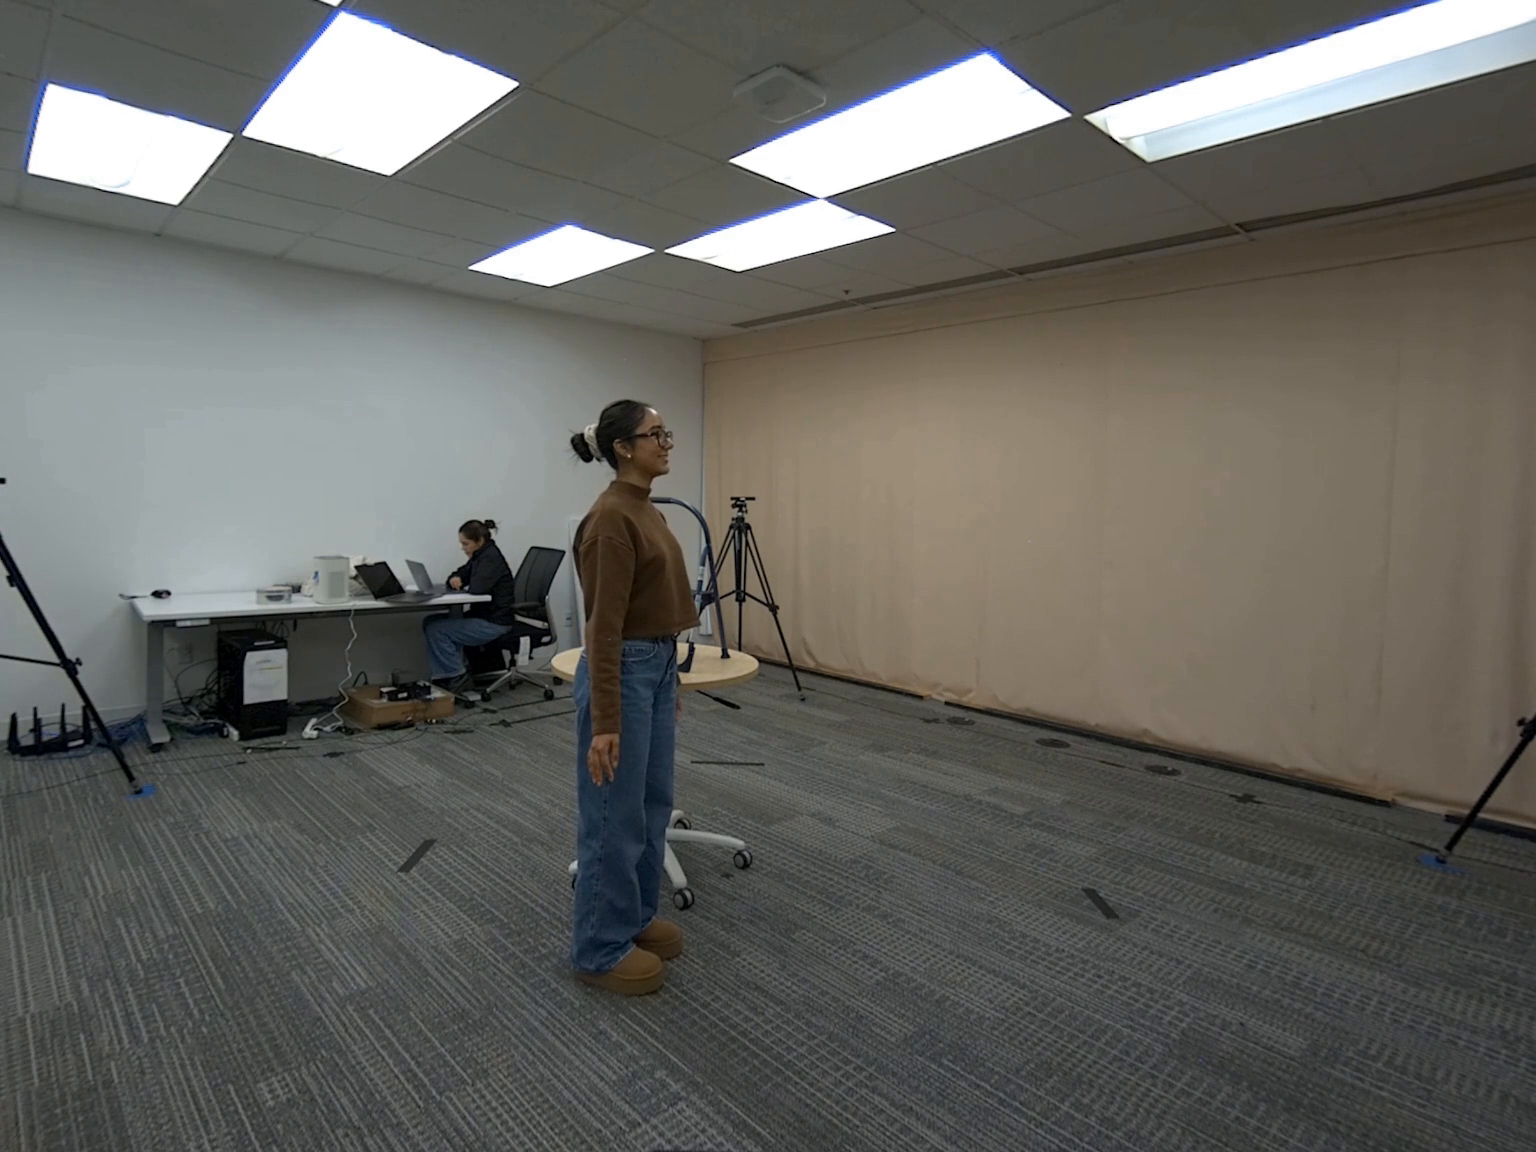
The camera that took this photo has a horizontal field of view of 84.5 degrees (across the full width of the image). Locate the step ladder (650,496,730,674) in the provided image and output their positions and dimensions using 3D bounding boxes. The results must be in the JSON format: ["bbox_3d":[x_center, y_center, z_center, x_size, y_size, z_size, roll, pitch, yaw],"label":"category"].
[{"bbox_3d":[-0.400,0.013,3.148,0.438,0.604,0.344,4,4,23],"label":"step ladder"}]
